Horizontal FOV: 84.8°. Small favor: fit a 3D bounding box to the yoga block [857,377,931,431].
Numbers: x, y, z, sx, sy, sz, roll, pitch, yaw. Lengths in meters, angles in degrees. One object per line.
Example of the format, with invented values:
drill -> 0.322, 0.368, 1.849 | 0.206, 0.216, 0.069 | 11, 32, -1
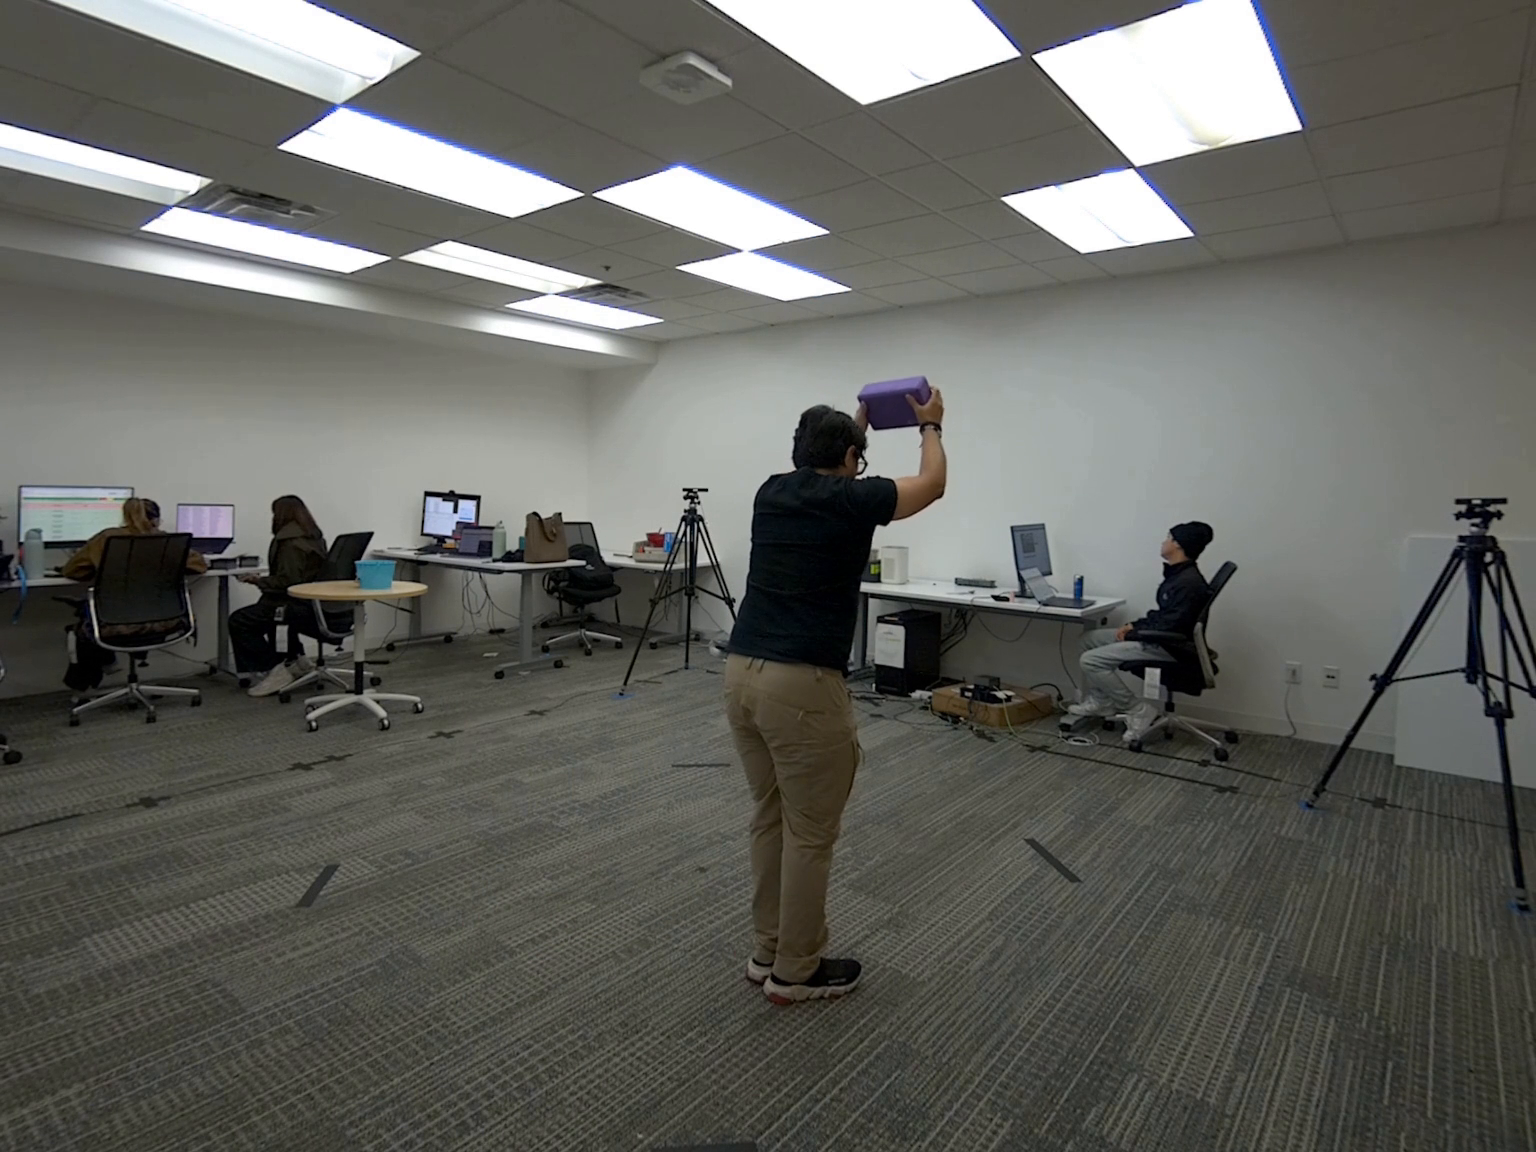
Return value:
yoga block -> 0.413, -0.531, 2.733 | 0.237, 0.144, 0.077 | 1, 43, 42
